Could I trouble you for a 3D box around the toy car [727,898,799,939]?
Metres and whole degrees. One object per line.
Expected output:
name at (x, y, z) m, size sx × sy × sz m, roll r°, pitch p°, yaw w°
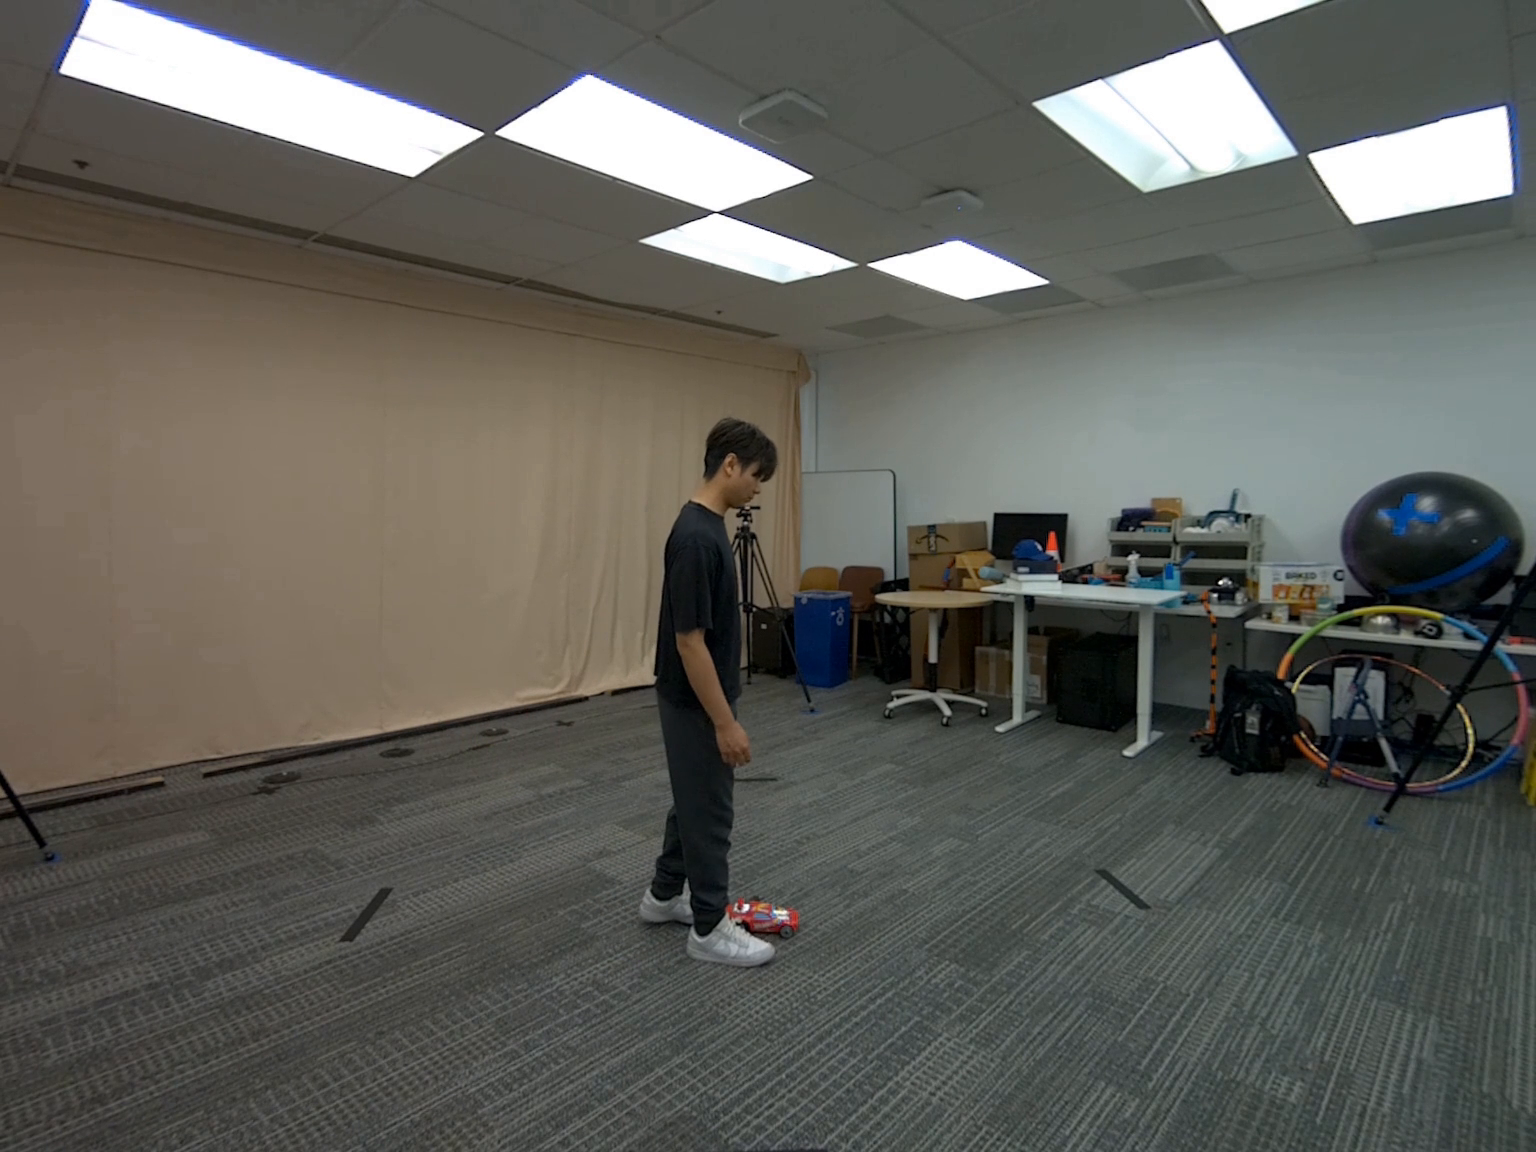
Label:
toy car at (-0.024, 1.131, 2.766) m, size 0.256 × 0.083 × 0.130 m, roll 12°, pitch 6°, yaw 5°
